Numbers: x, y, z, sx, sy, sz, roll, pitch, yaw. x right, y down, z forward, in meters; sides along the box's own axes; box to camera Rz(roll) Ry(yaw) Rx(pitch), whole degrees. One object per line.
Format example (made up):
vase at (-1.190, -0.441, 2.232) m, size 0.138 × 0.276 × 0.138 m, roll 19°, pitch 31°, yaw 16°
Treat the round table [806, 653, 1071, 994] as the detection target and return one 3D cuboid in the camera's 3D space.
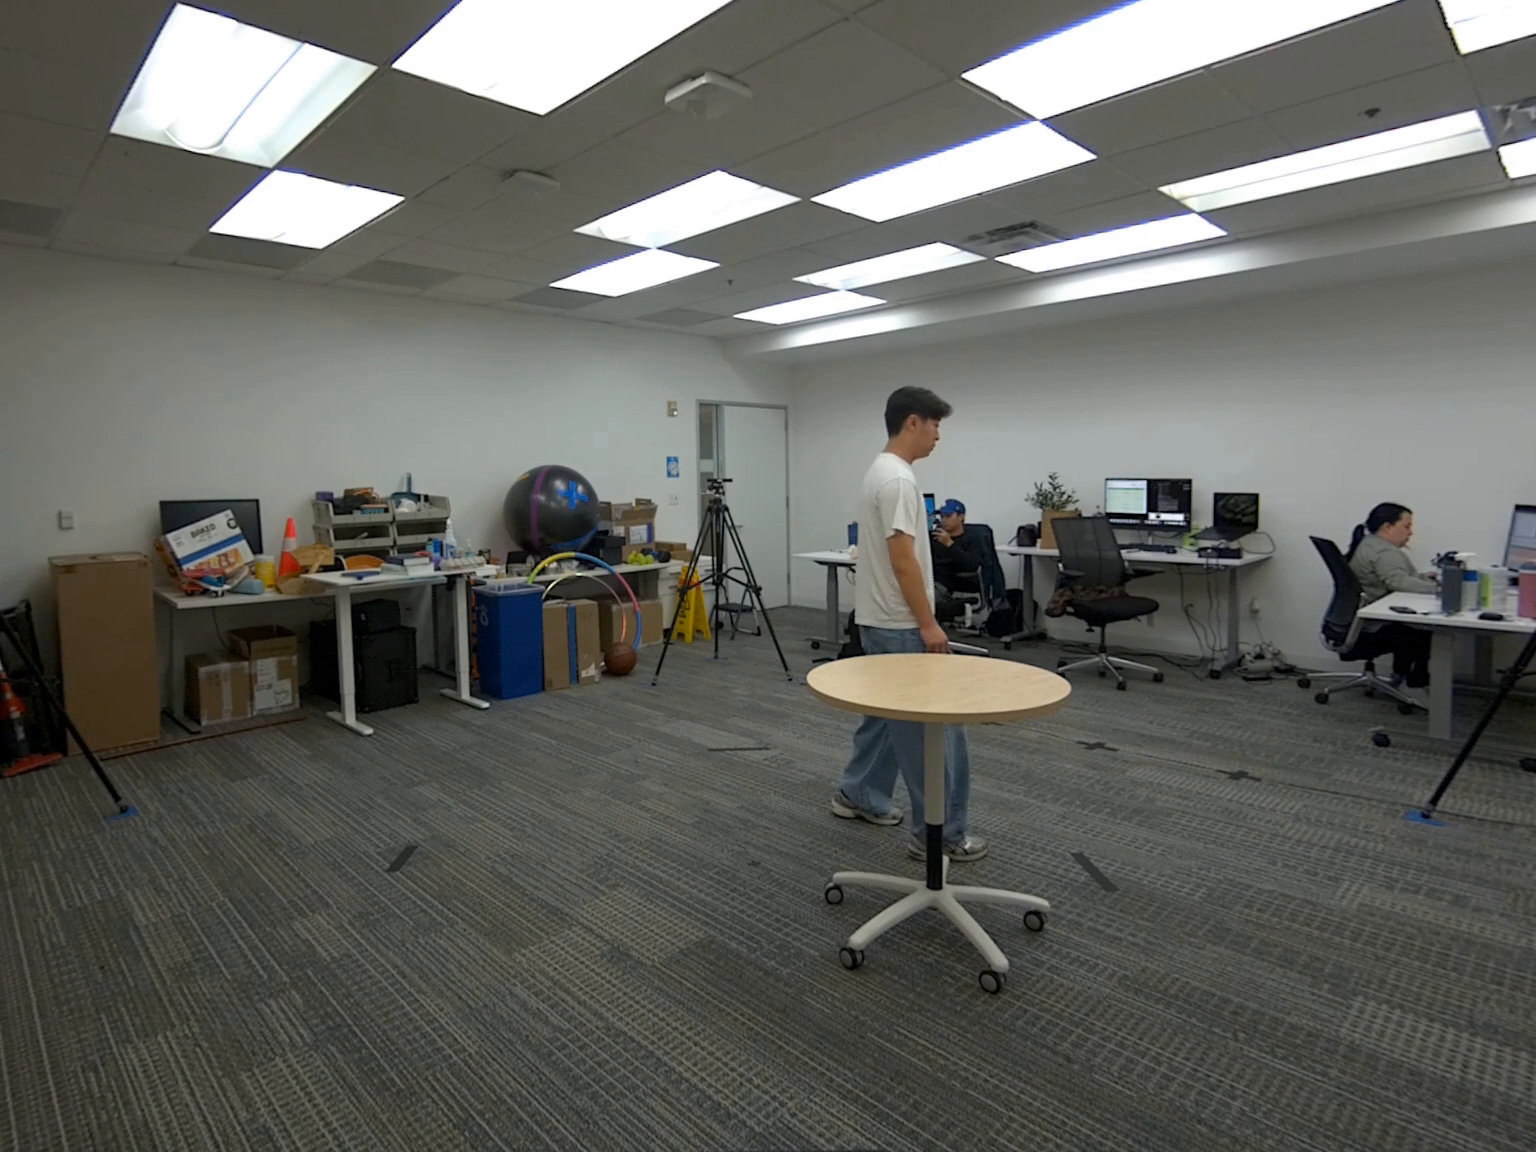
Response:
round table at (0.509, 0.705, 2.601) m, size 0.763 × 0.791 × 0.768 m, roll -1°, pitch 5°, yaw -2°
